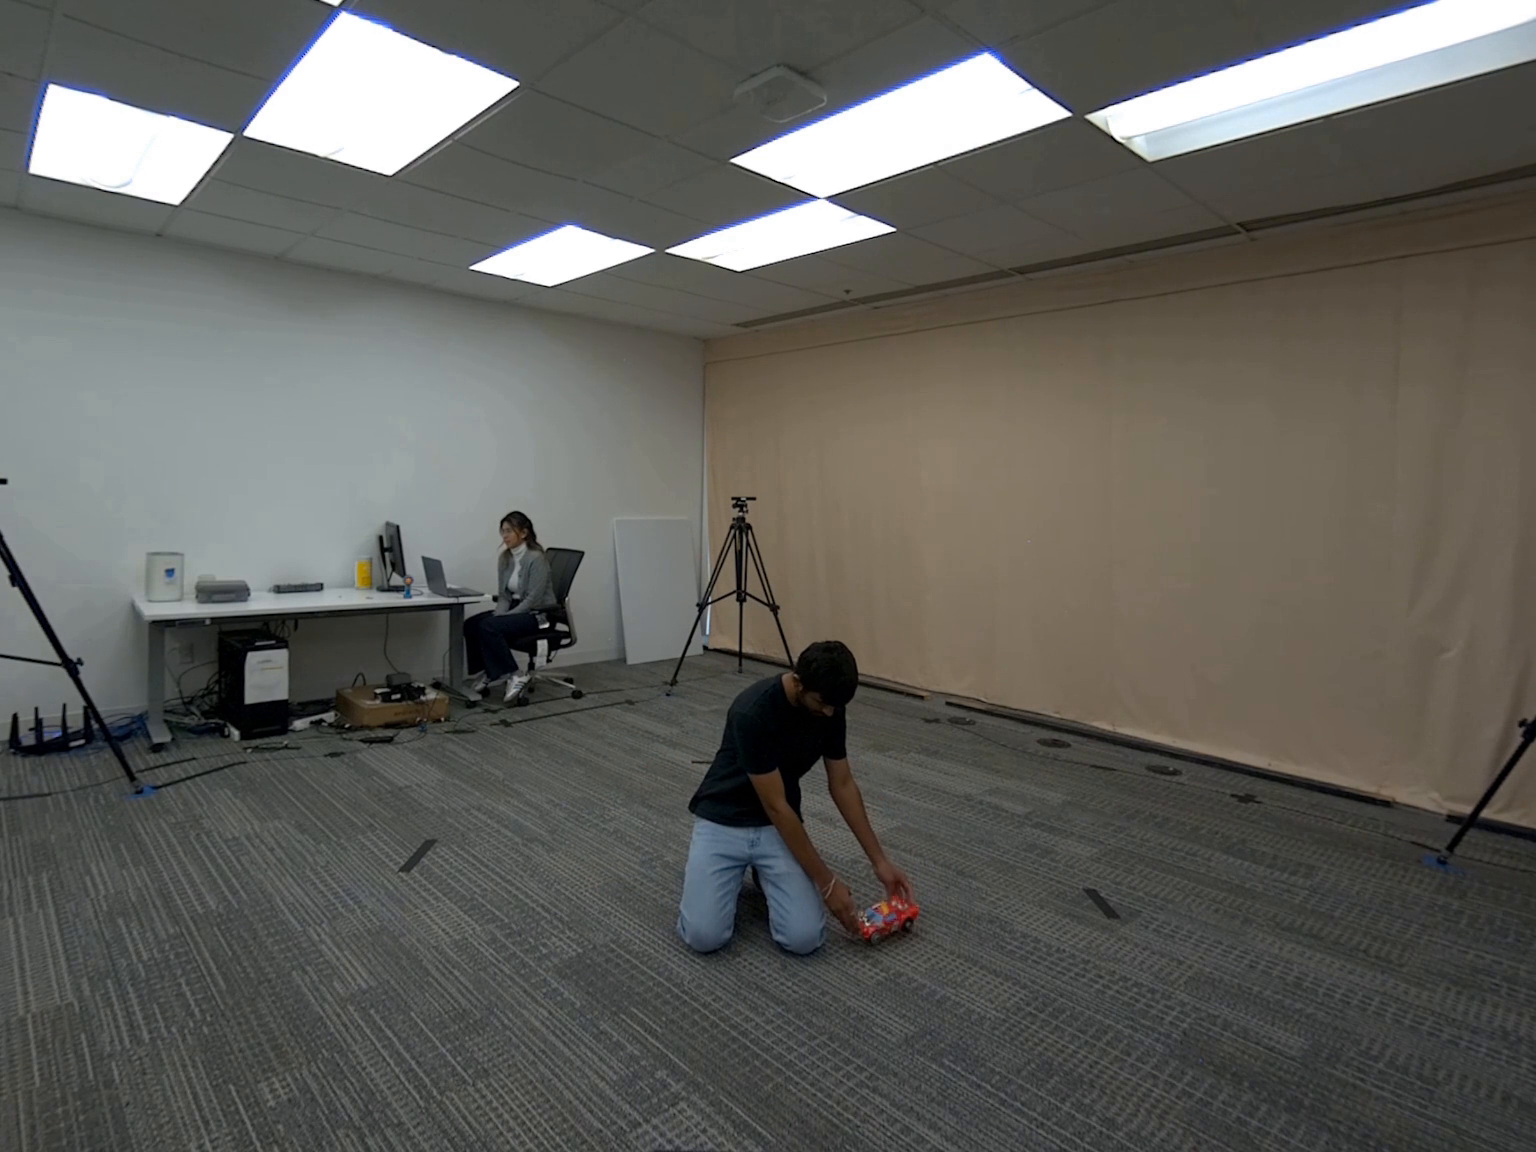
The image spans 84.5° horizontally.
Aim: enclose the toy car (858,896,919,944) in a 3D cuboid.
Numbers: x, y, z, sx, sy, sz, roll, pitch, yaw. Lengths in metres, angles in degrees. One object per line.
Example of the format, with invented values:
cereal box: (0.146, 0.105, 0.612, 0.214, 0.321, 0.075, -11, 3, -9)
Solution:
toy car: (0.365, 1.098, 2.675, 0.250, 0.082, 0.133, -13, 13, -35)
